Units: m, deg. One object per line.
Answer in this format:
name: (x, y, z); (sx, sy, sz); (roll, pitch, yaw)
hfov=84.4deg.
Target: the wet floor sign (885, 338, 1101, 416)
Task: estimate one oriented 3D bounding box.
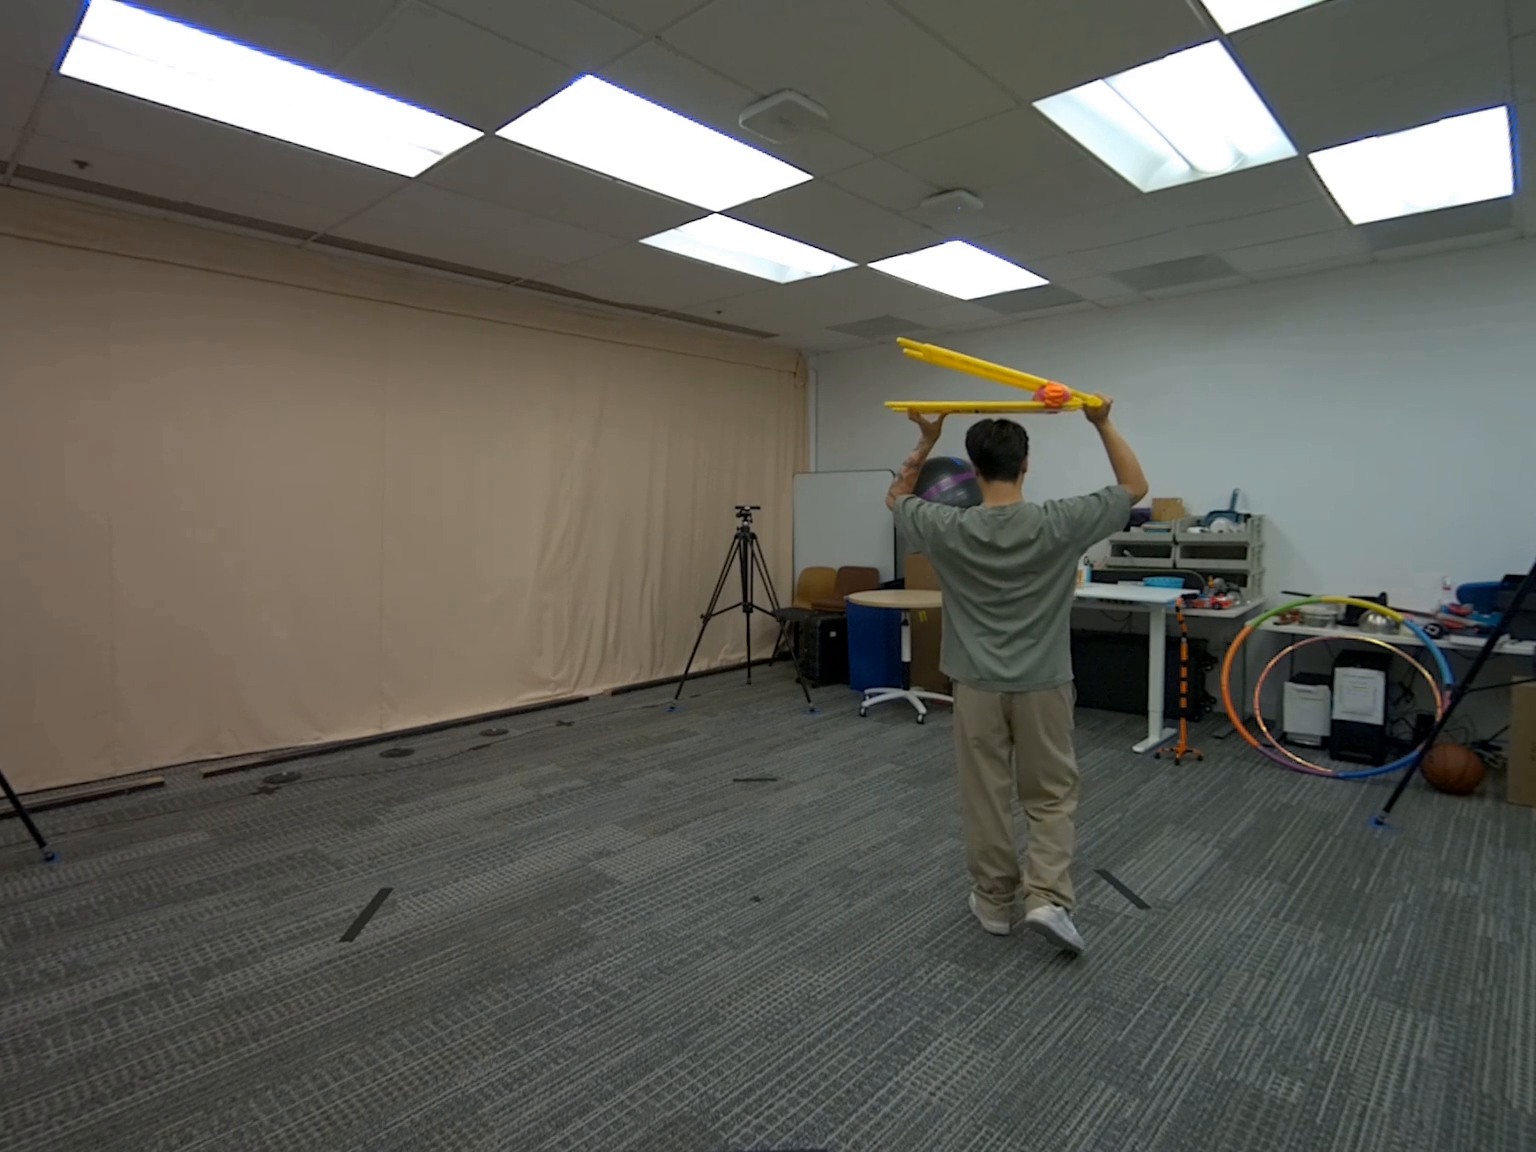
wet floor sign: (0.759, -0.607, 2.764); (0.659, 0.289, 0.277); (11, 7, 17)
